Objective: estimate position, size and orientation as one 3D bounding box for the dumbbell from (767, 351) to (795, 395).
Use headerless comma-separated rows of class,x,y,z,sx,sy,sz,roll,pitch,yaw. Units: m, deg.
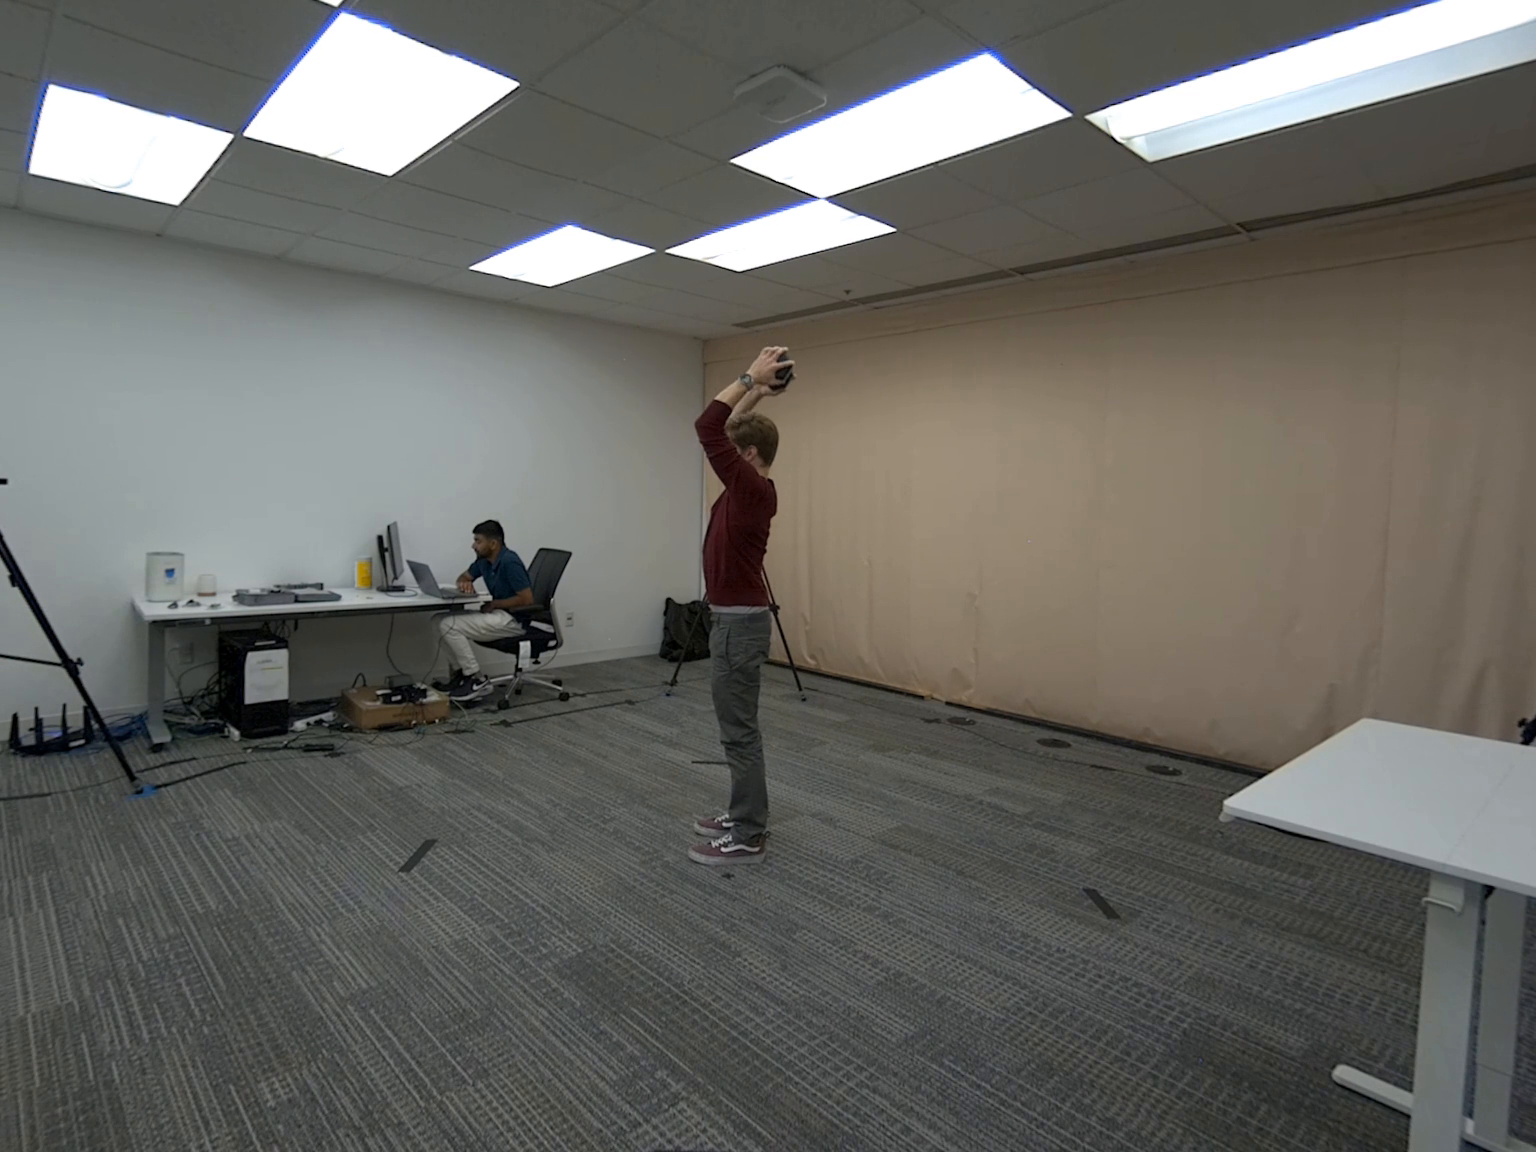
dumbbell,0.013,-0.796,3.261,0.109,0.123,0.292,-33,0,7
